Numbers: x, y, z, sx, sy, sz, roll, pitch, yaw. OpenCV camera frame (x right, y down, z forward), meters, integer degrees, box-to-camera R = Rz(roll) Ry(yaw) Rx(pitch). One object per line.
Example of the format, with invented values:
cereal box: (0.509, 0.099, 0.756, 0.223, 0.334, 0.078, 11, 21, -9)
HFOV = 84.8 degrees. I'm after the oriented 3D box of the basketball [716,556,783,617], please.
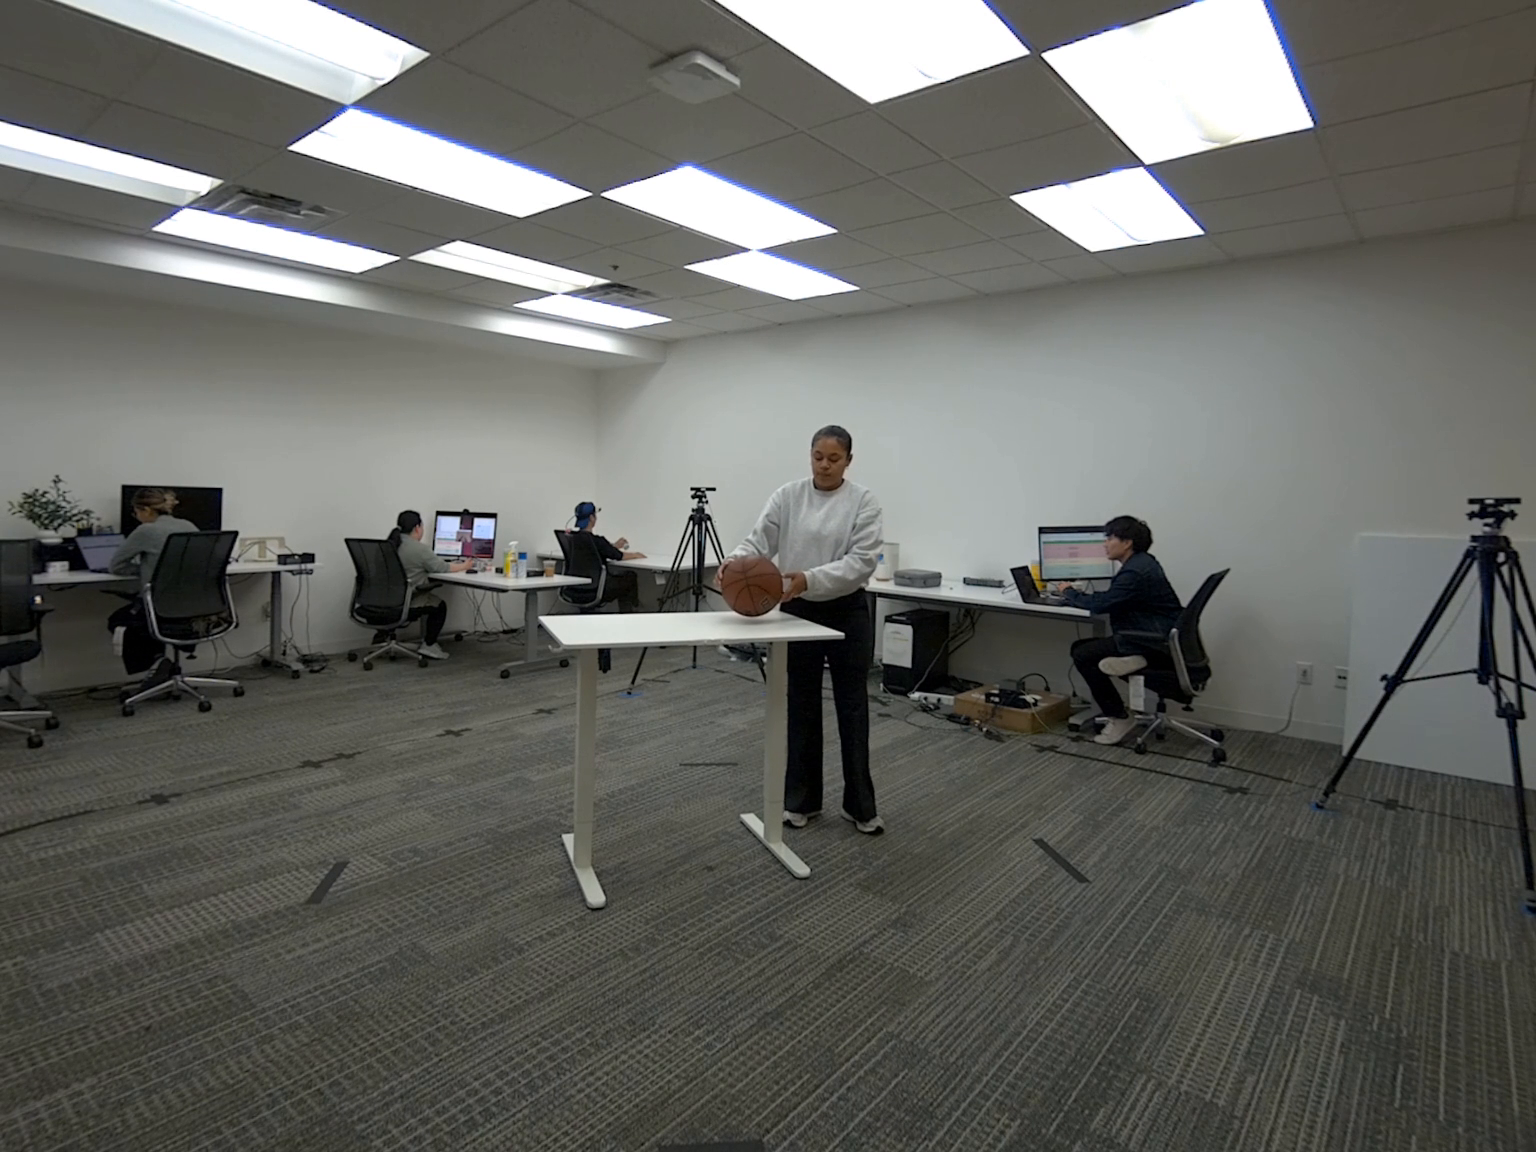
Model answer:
basketball: (-0.076, 0.029, 3.261, 0.235, 0.235, 0.237, 1, 4, -2)
